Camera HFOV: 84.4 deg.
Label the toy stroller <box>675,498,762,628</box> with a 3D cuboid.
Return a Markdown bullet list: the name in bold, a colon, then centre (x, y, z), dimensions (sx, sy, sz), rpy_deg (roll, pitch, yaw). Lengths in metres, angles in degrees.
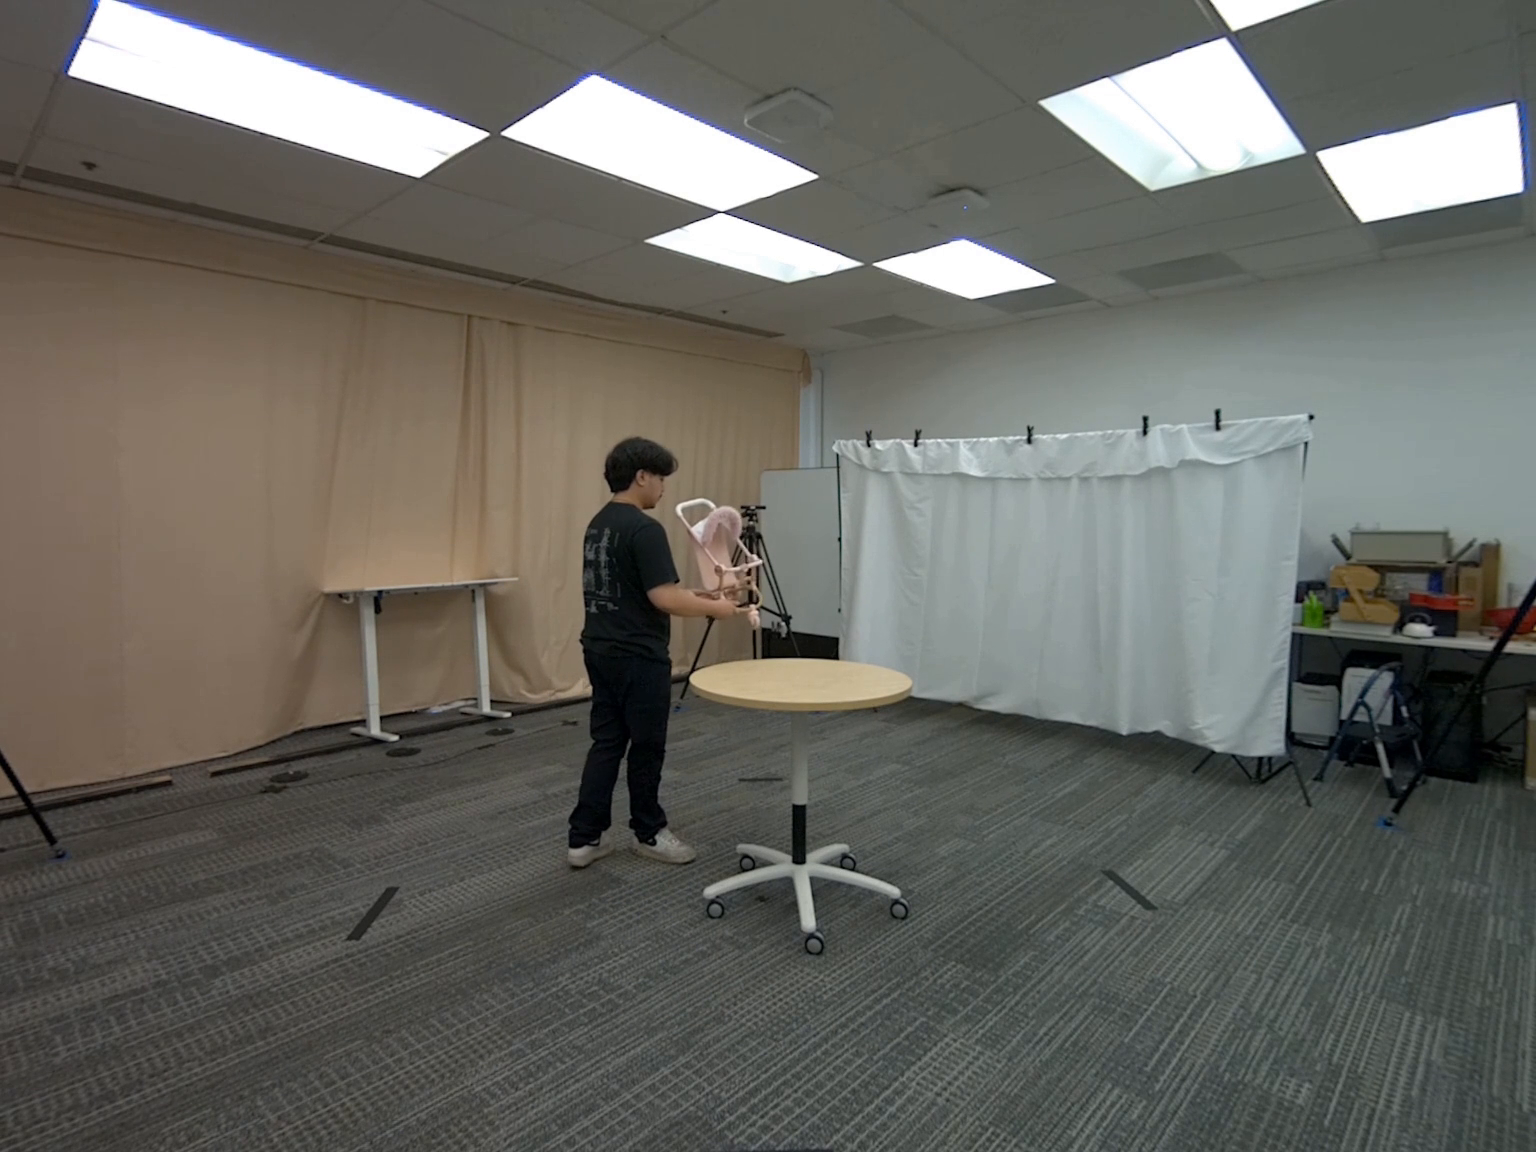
- **toy stroller**: centre (-0.184, -0.050, 3.466), dimensions (0.274, 0.532, 0.352), rpy_deg (-13, 10, -40)
